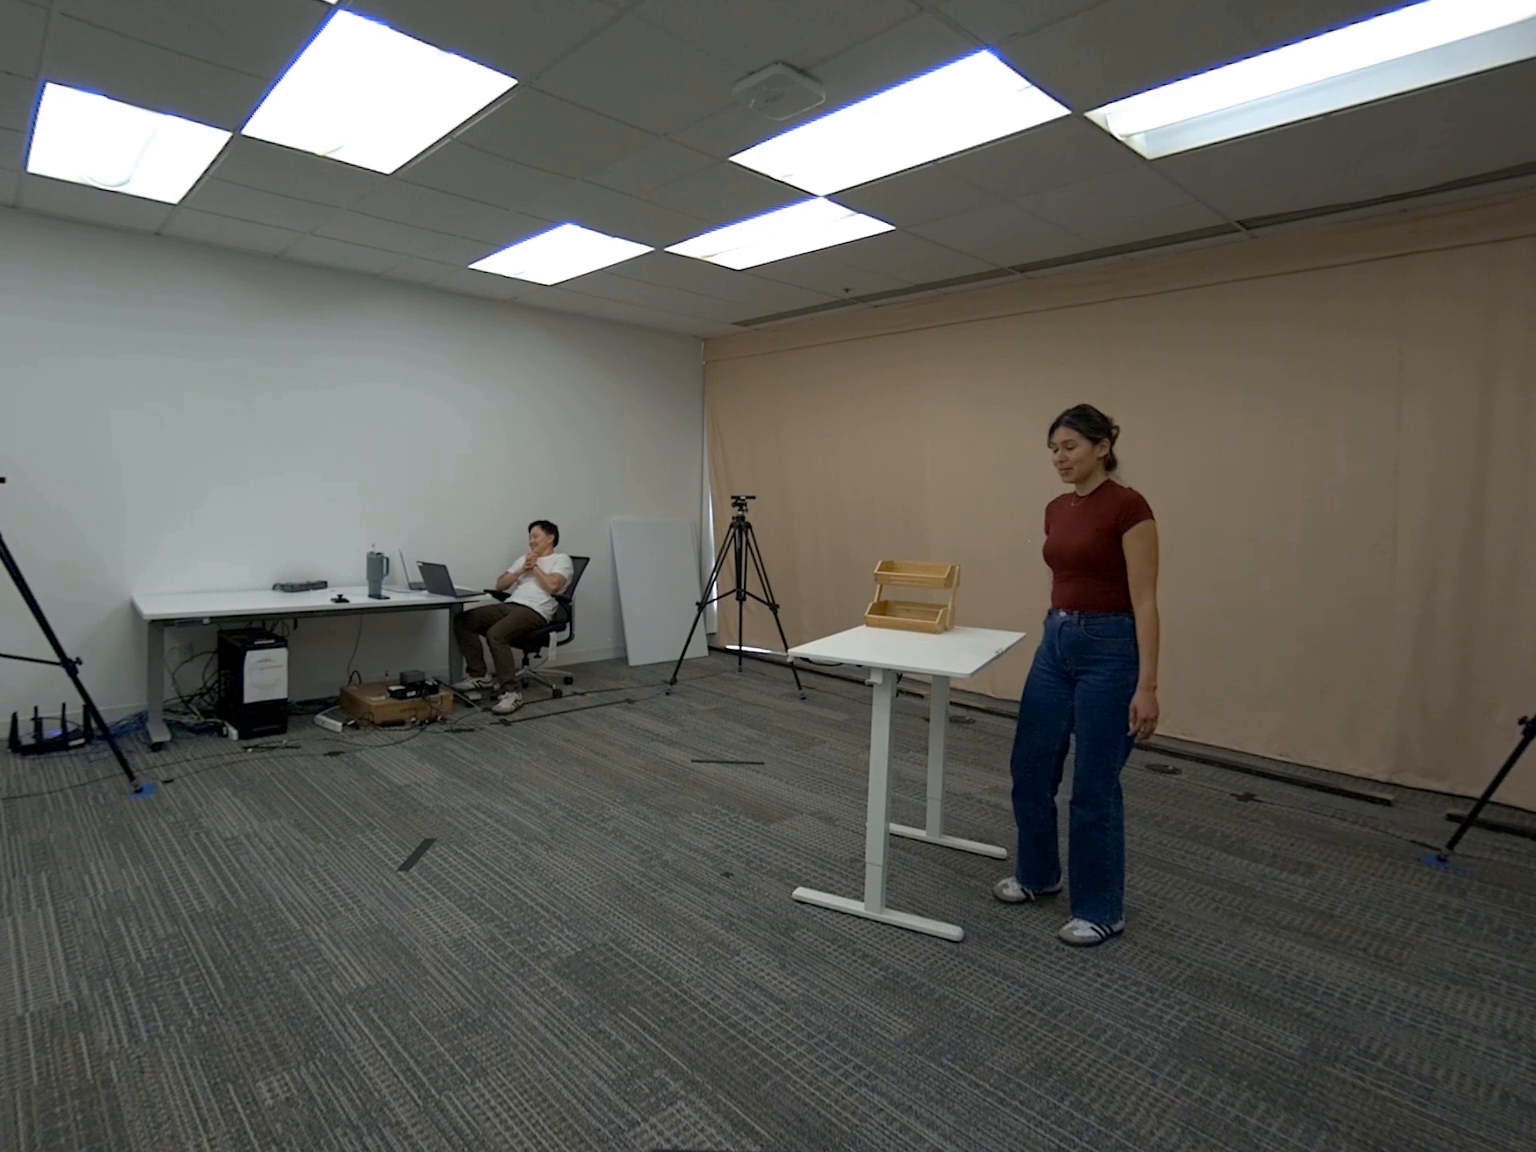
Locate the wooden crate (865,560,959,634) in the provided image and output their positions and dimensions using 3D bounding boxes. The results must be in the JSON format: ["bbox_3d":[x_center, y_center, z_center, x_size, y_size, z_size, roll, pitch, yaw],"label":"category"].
[{"bbox_3d":[0.593,0.076,3.462,0.331,0.273,0.296,5,4,28],"label":"wooden crate"}]
